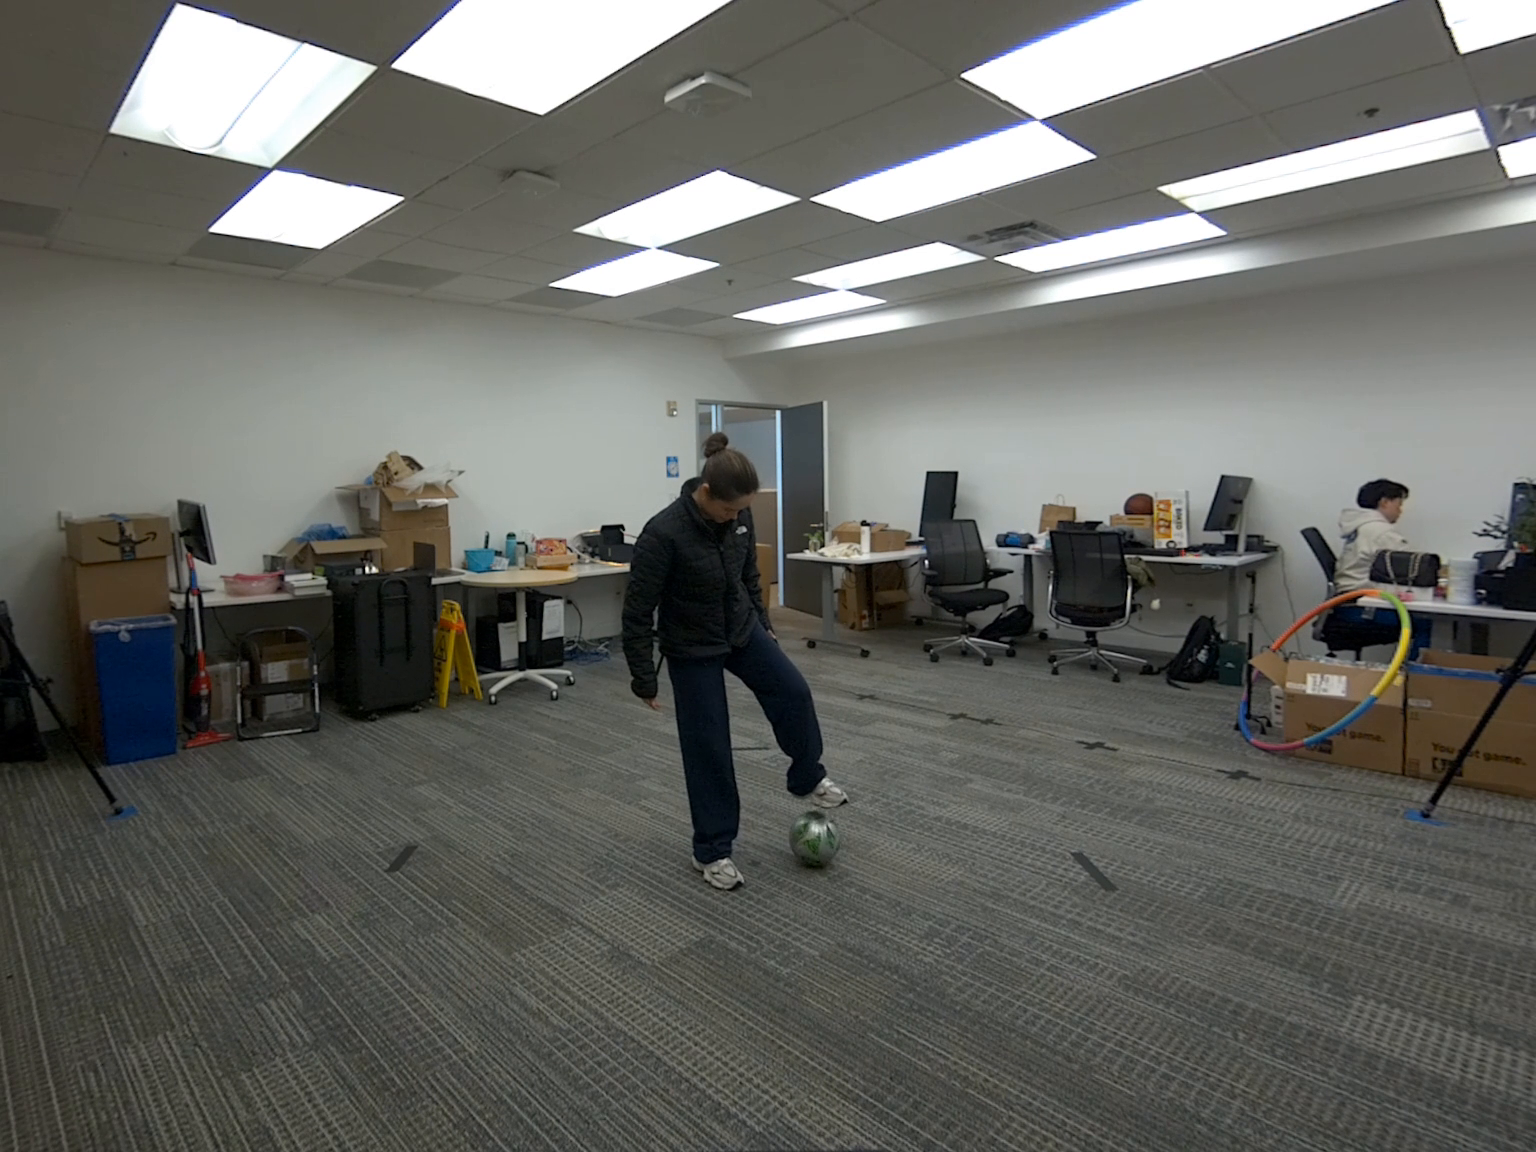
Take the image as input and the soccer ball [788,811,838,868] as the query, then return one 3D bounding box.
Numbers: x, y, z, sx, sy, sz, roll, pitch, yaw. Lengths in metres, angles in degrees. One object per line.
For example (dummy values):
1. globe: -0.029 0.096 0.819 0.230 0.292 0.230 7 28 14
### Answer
1. soccer ball: 0.172 0.944 3.092 0.187 0.187 0.188 -1 5 -2
